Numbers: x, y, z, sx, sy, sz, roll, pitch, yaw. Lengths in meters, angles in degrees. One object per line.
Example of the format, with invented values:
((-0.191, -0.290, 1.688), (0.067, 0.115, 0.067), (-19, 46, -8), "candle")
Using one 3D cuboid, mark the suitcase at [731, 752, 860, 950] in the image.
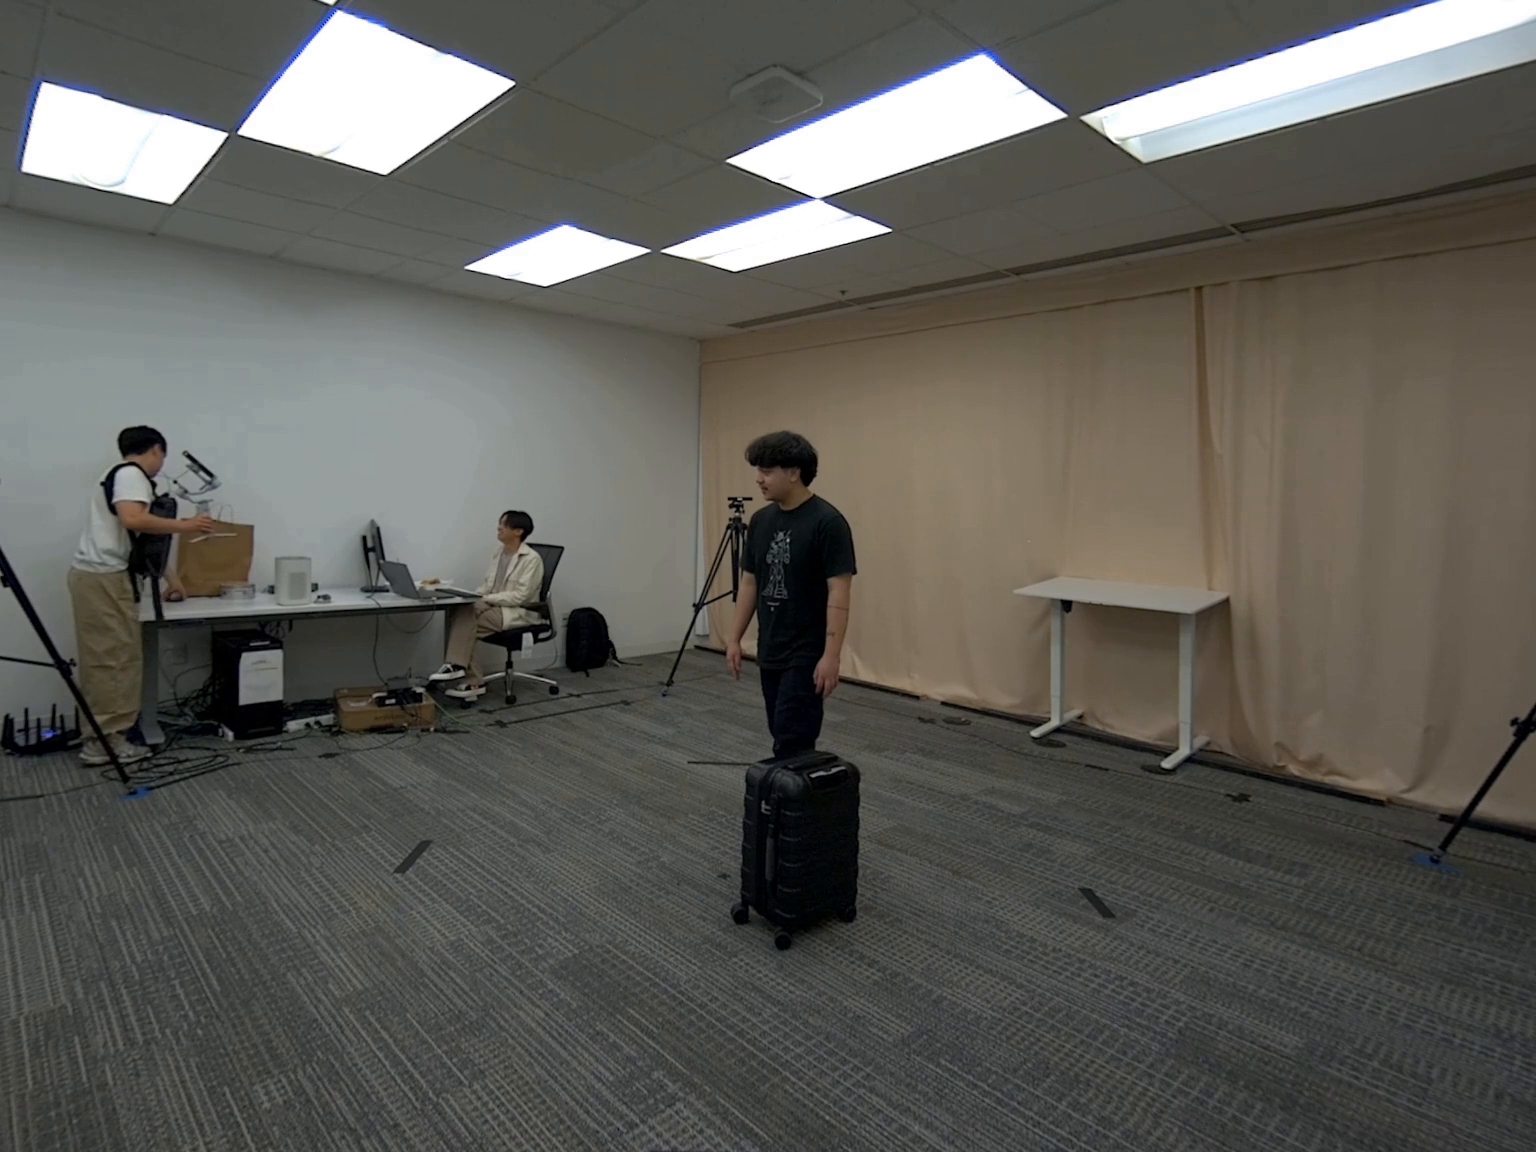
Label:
((0.100, 0.869, 2.771), (0.367, 0.548, 0.255), (-1, 4, -41), "suitcase")
